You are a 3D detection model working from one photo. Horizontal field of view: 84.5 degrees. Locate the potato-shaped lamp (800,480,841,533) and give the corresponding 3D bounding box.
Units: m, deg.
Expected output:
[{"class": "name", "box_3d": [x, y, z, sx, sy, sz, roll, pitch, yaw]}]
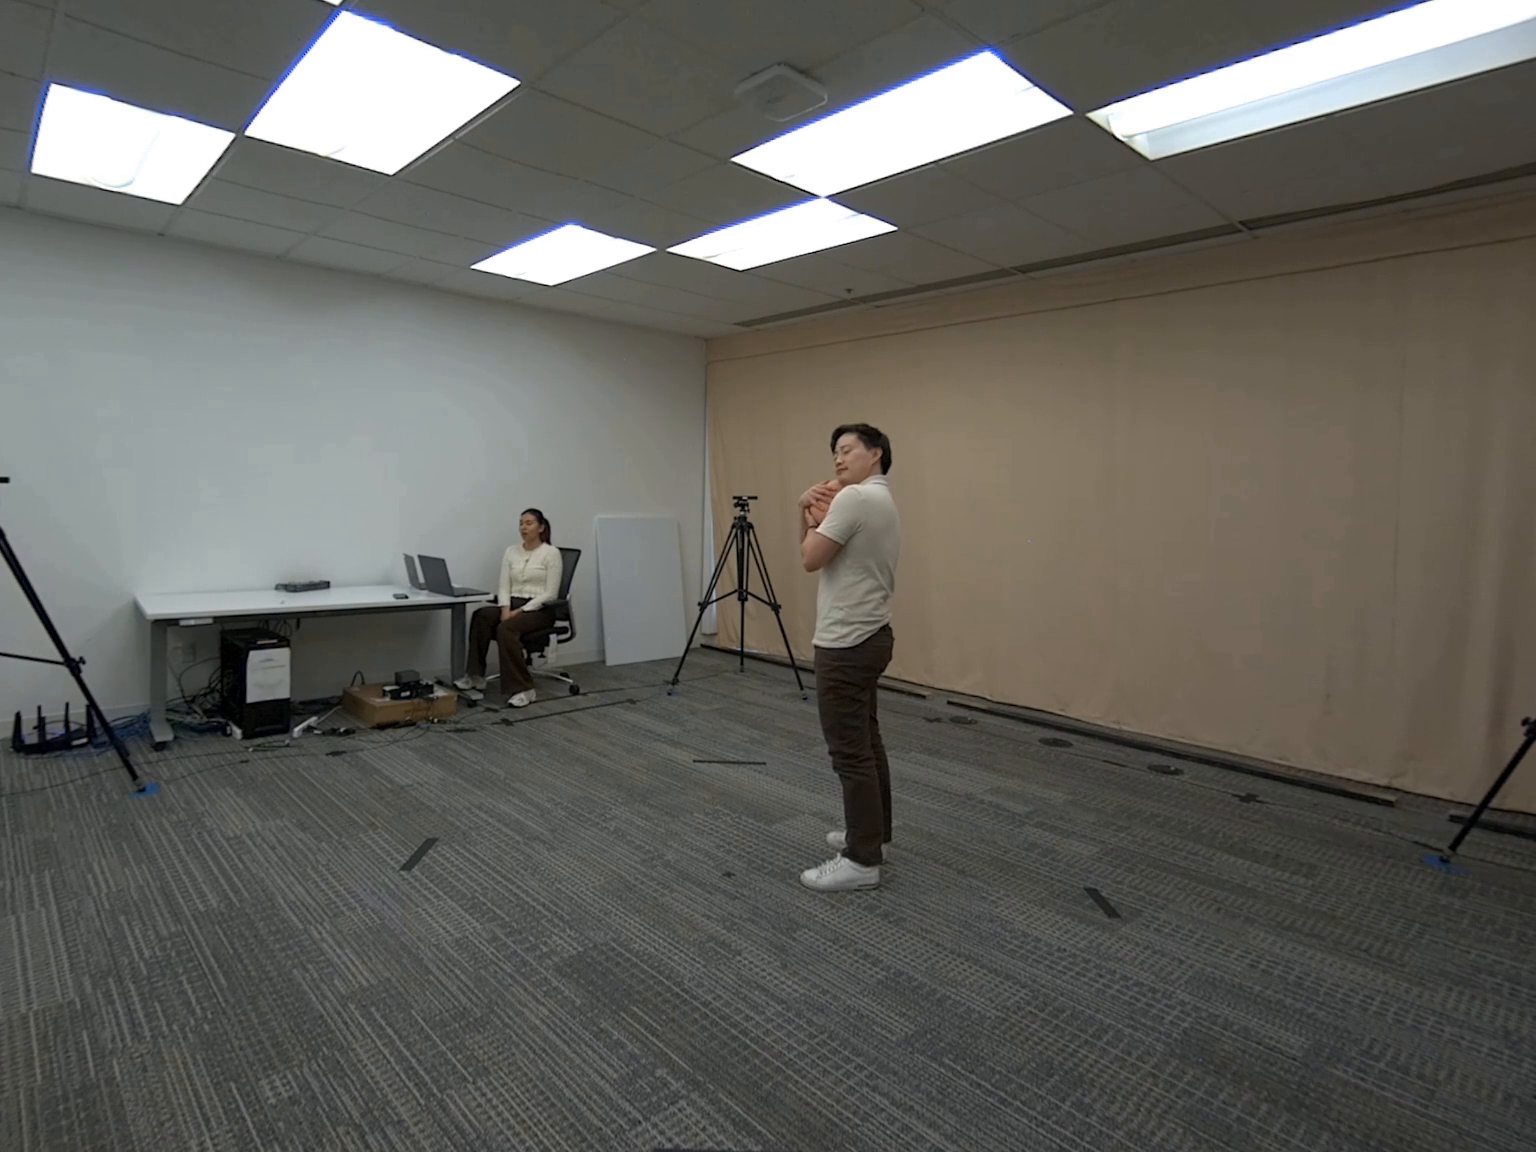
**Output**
[{"class": "potato-shaped lamp", "box_3d": [0.259, -0.274, 3.243, 0.160, 0.198, 0.176, 12, 36, -53]}]
